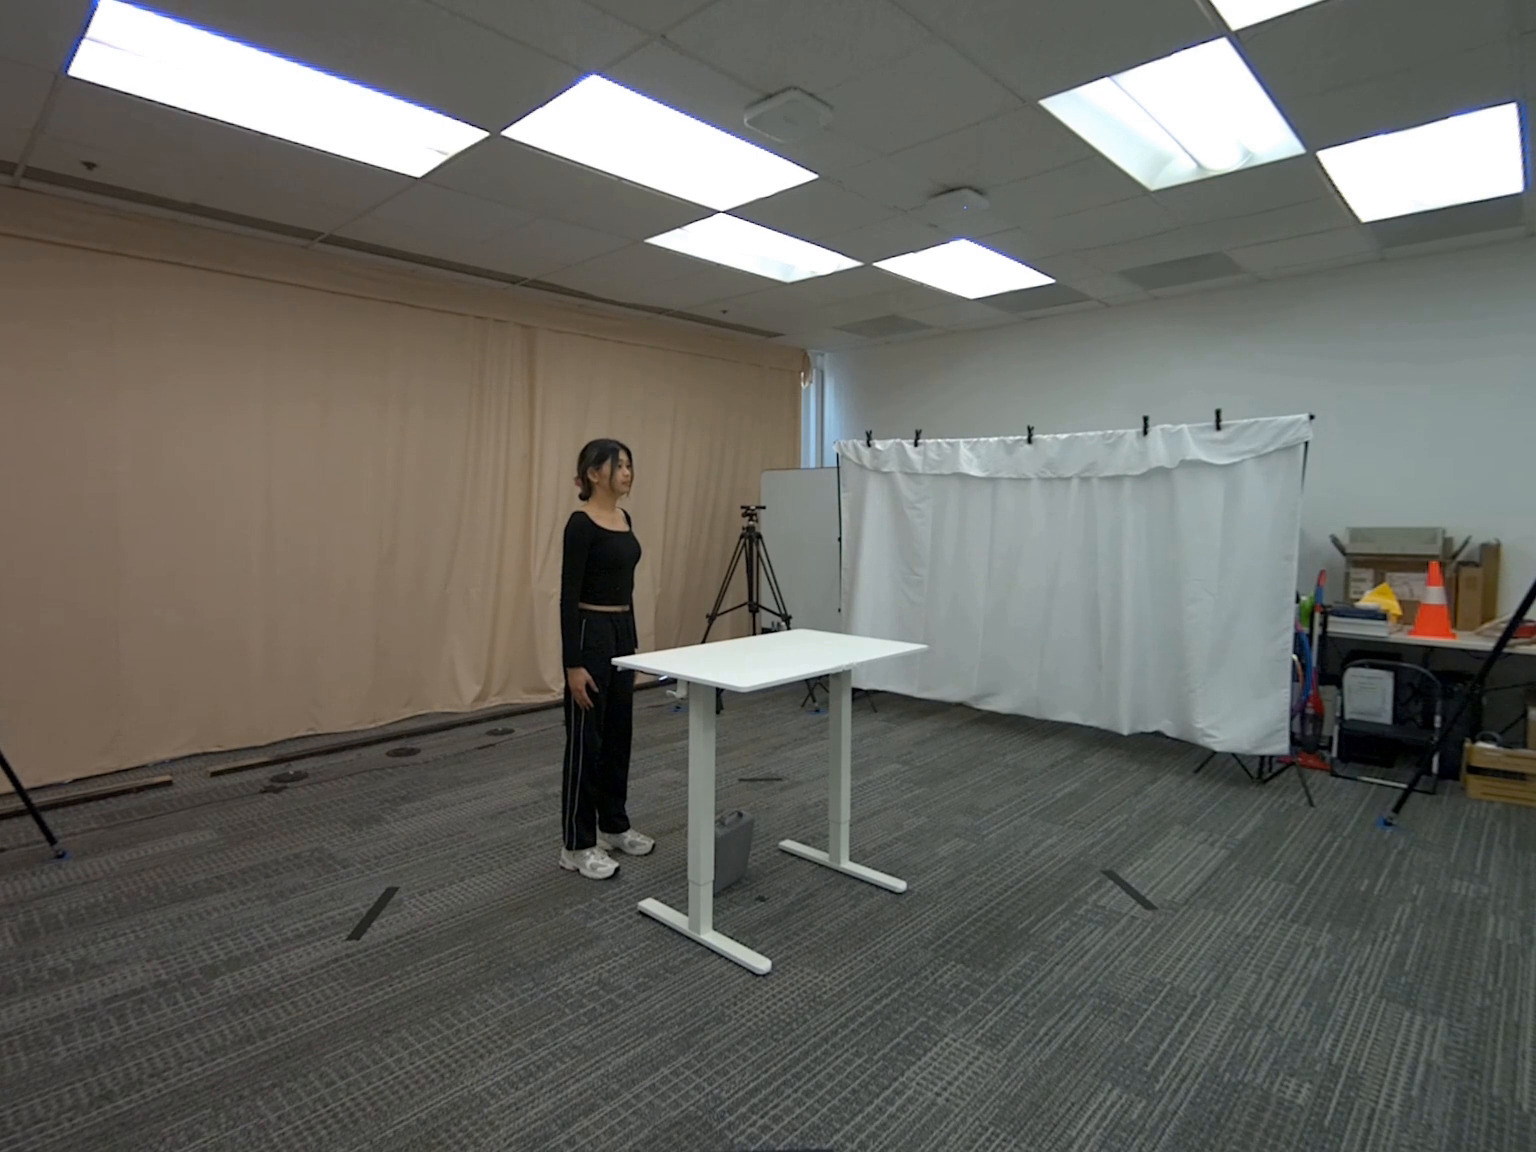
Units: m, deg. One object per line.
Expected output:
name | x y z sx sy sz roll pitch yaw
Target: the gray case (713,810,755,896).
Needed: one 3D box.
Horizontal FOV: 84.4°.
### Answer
gray case | -0.160 1.001 3.080 0.108 0.259 0.250 15 12 30
